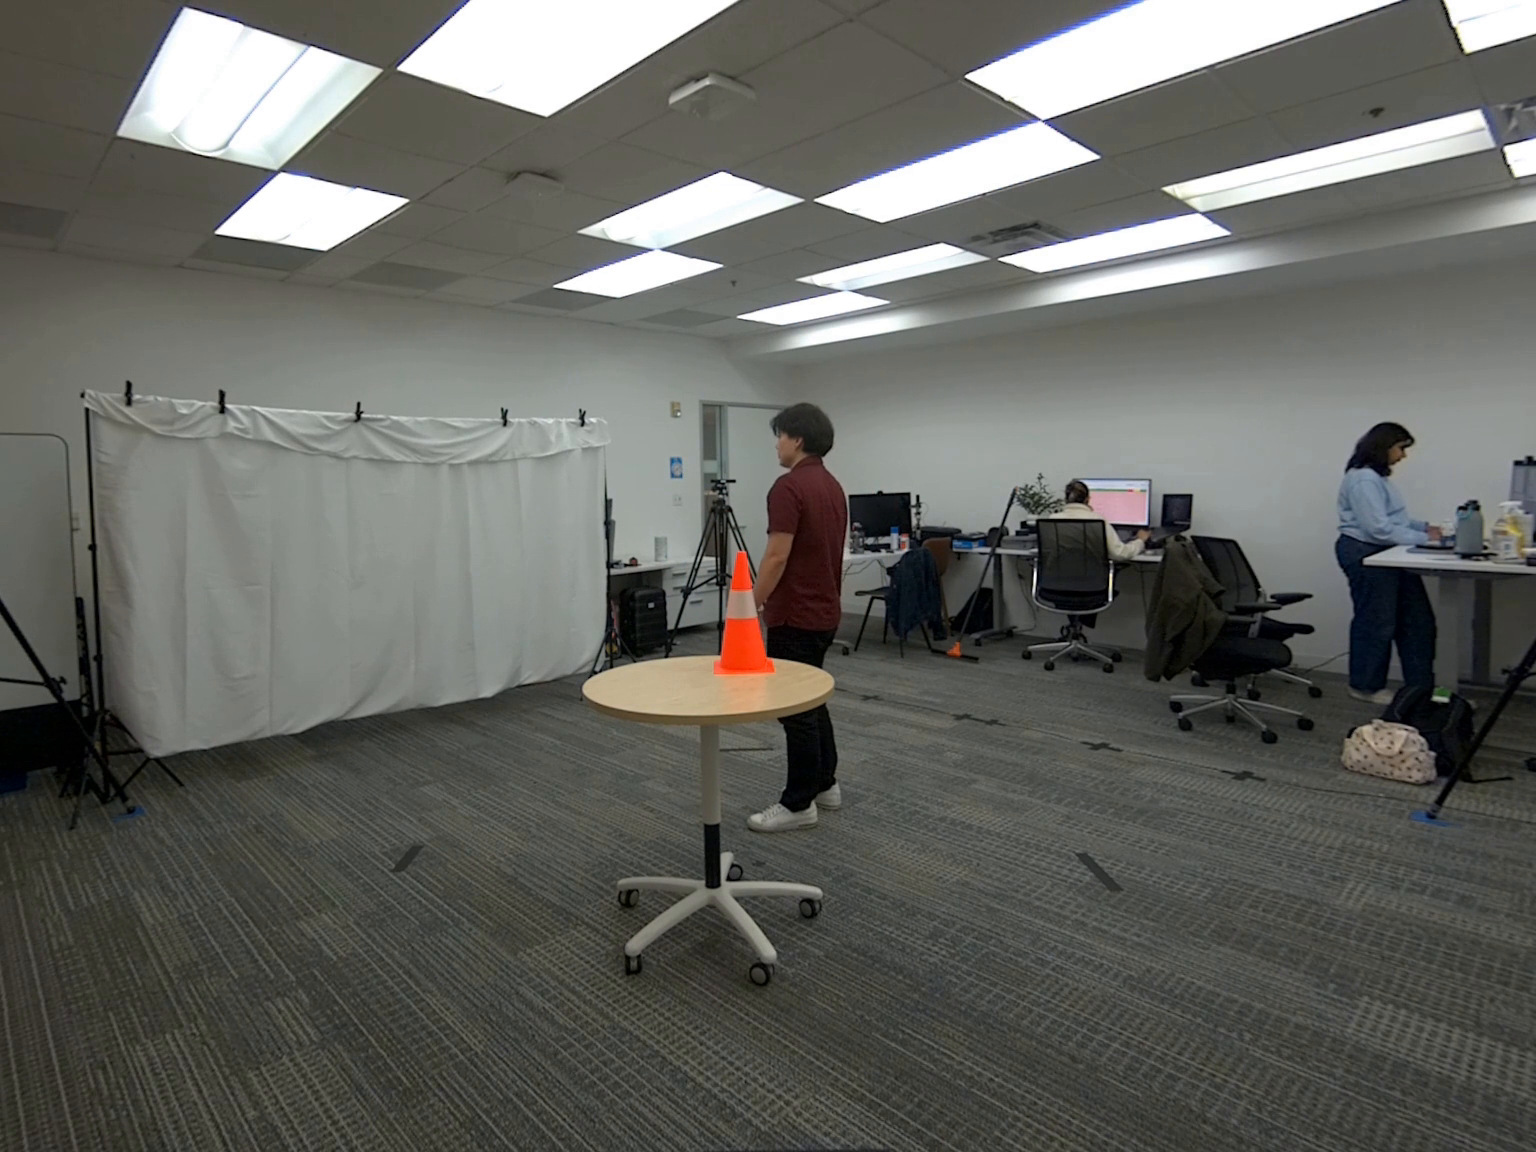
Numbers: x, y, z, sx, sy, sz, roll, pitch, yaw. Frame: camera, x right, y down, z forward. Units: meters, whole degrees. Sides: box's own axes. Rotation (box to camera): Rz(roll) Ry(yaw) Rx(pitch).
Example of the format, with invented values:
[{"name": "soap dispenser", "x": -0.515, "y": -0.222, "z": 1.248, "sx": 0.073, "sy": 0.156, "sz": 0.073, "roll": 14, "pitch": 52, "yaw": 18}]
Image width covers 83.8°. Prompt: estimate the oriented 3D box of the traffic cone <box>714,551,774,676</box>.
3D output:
[{"name": "traffic cone", "x": -0.080, "y": 0.107, "z": 2.801, "sx": 0.201, "sy": 0.384, "sz": 0.207, "roll": 1, "pitch": -1, "yaw": -12}]
